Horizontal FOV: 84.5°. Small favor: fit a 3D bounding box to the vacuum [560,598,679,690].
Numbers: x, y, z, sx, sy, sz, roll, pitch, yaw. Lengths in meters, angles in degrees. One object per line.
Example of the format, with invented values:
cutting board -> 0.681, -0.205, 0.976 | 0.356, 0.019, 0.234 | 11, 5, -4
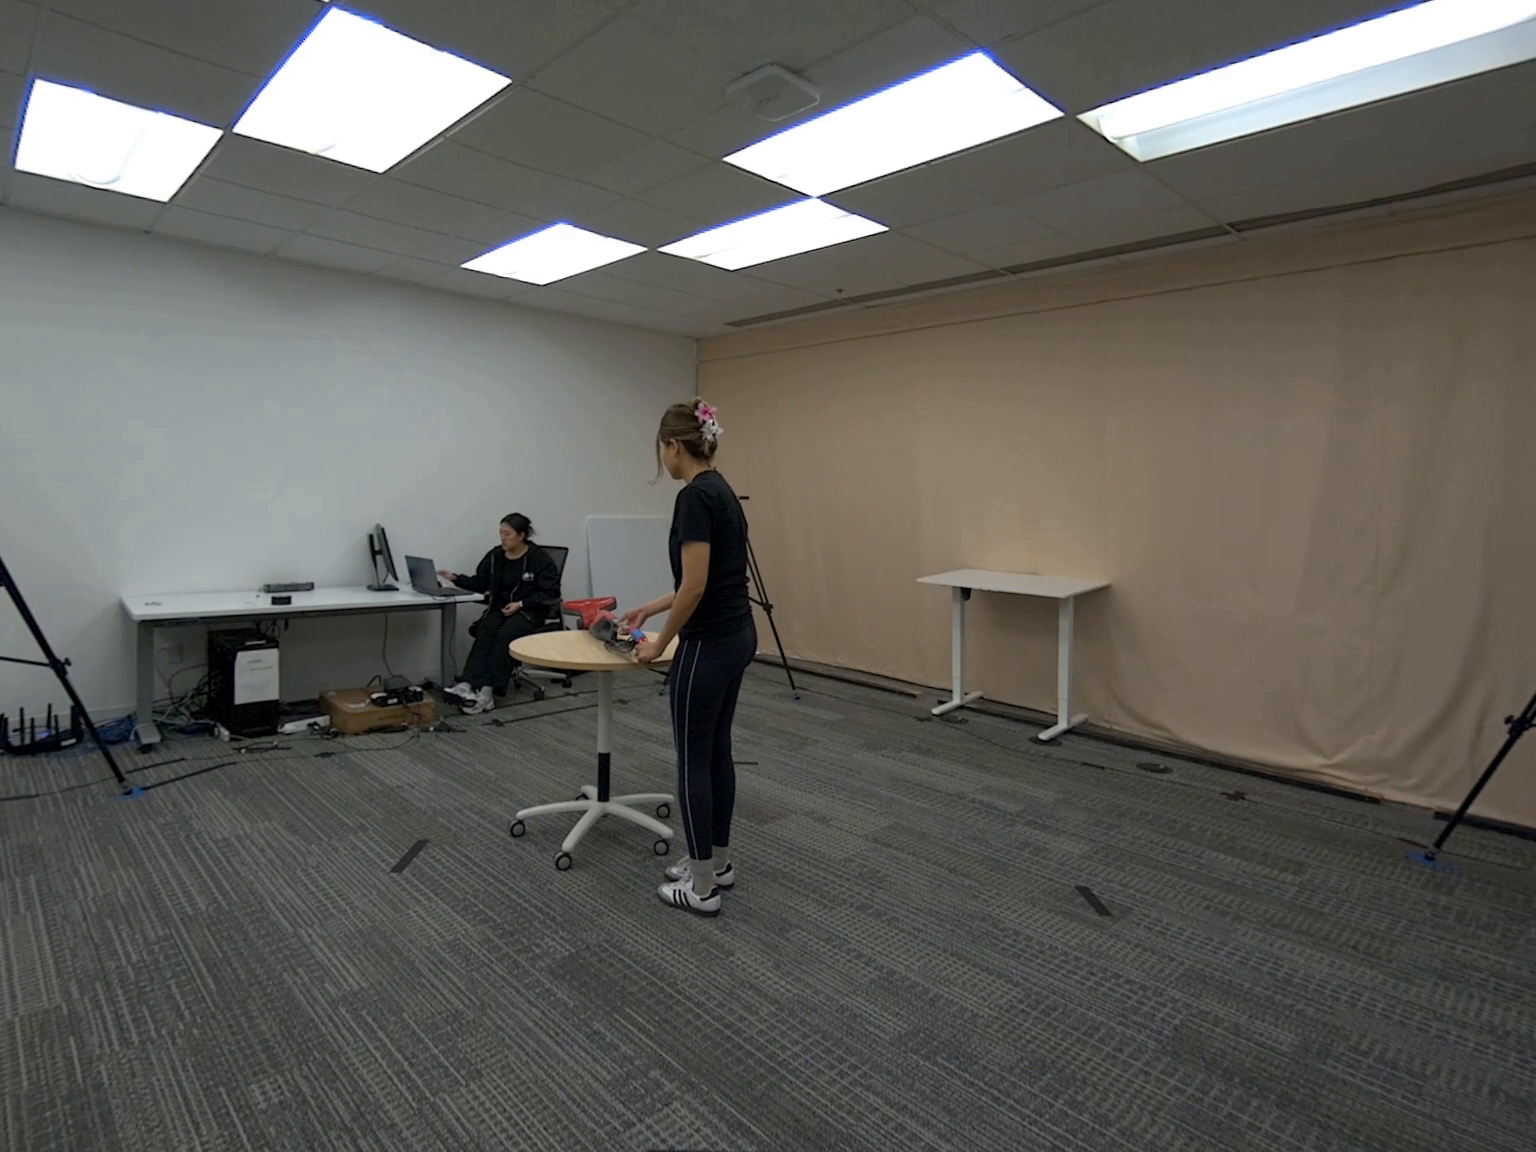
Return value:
vacuum -> -0.616, 0.238, 3.344 | 0.249, 0.143, 1.069 | -4, 8, -21
